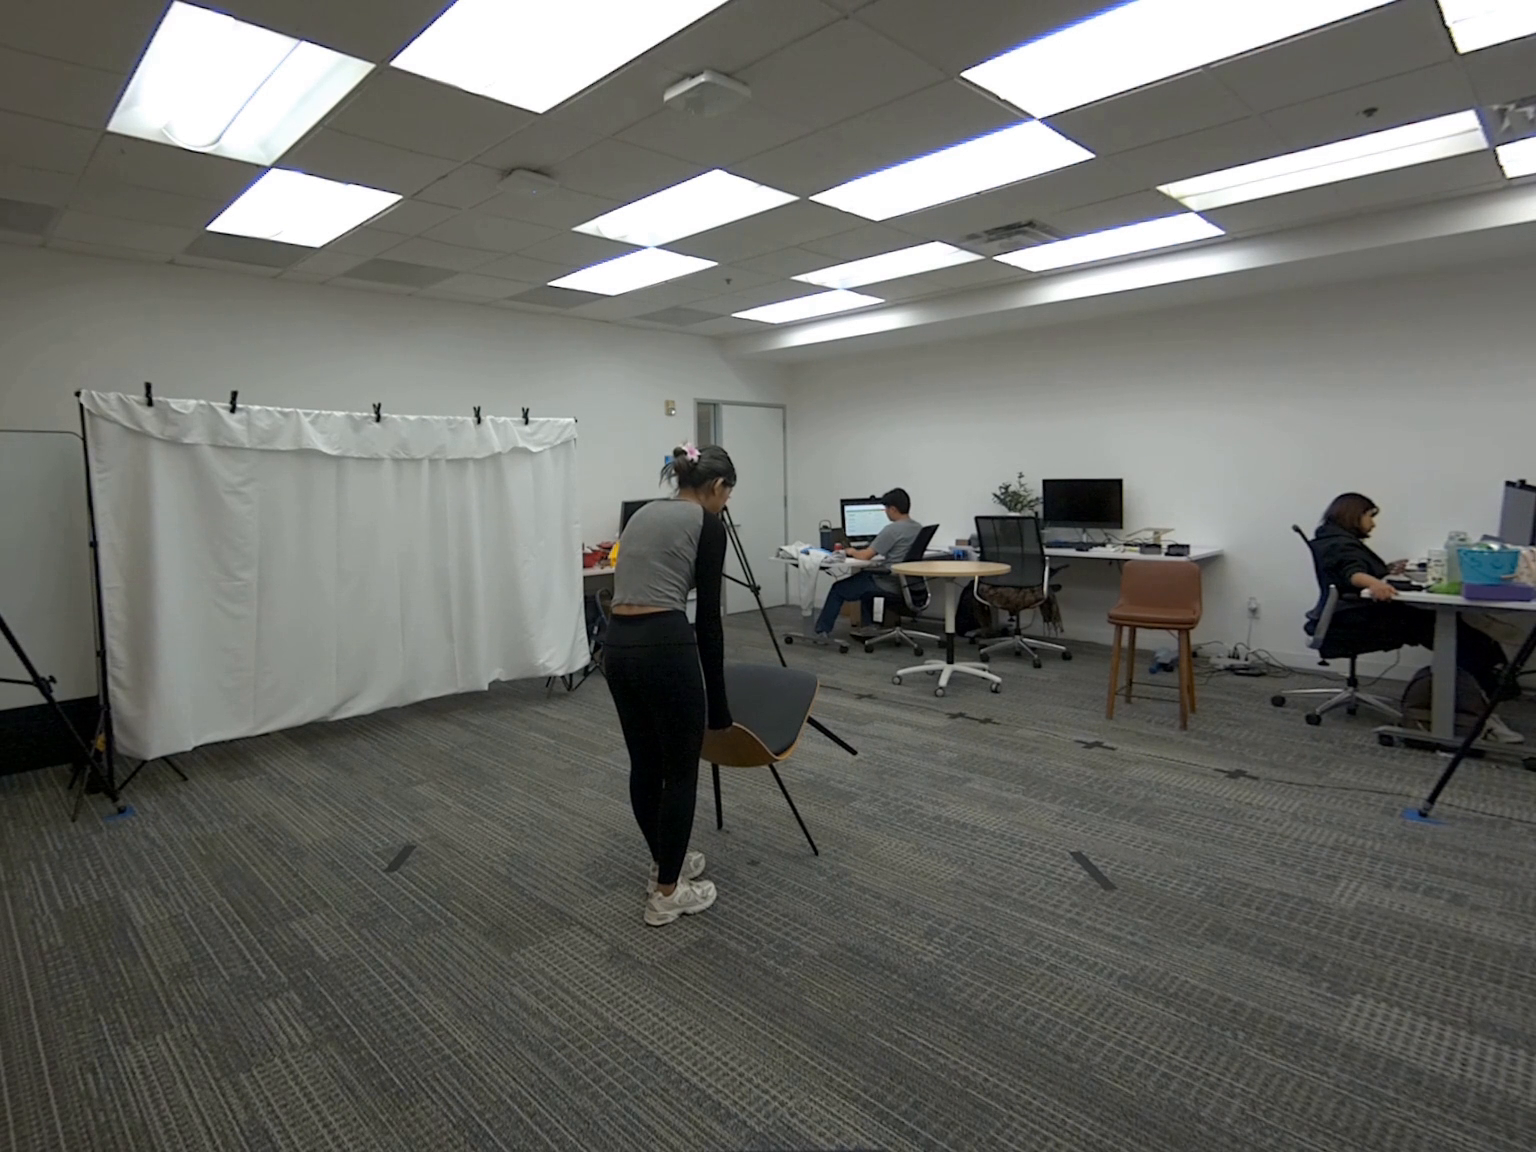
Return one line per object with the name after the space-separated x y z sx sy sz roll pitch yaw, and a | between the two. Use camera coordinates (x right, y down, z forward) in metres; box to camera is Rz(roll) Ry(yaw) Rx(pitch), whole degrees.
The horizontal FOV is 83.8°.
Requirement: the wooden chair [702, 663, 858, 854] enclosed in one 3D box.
-0.059 0.558 3.177 0.492 0.528 0.845 3 -40 34 | wooden chair
